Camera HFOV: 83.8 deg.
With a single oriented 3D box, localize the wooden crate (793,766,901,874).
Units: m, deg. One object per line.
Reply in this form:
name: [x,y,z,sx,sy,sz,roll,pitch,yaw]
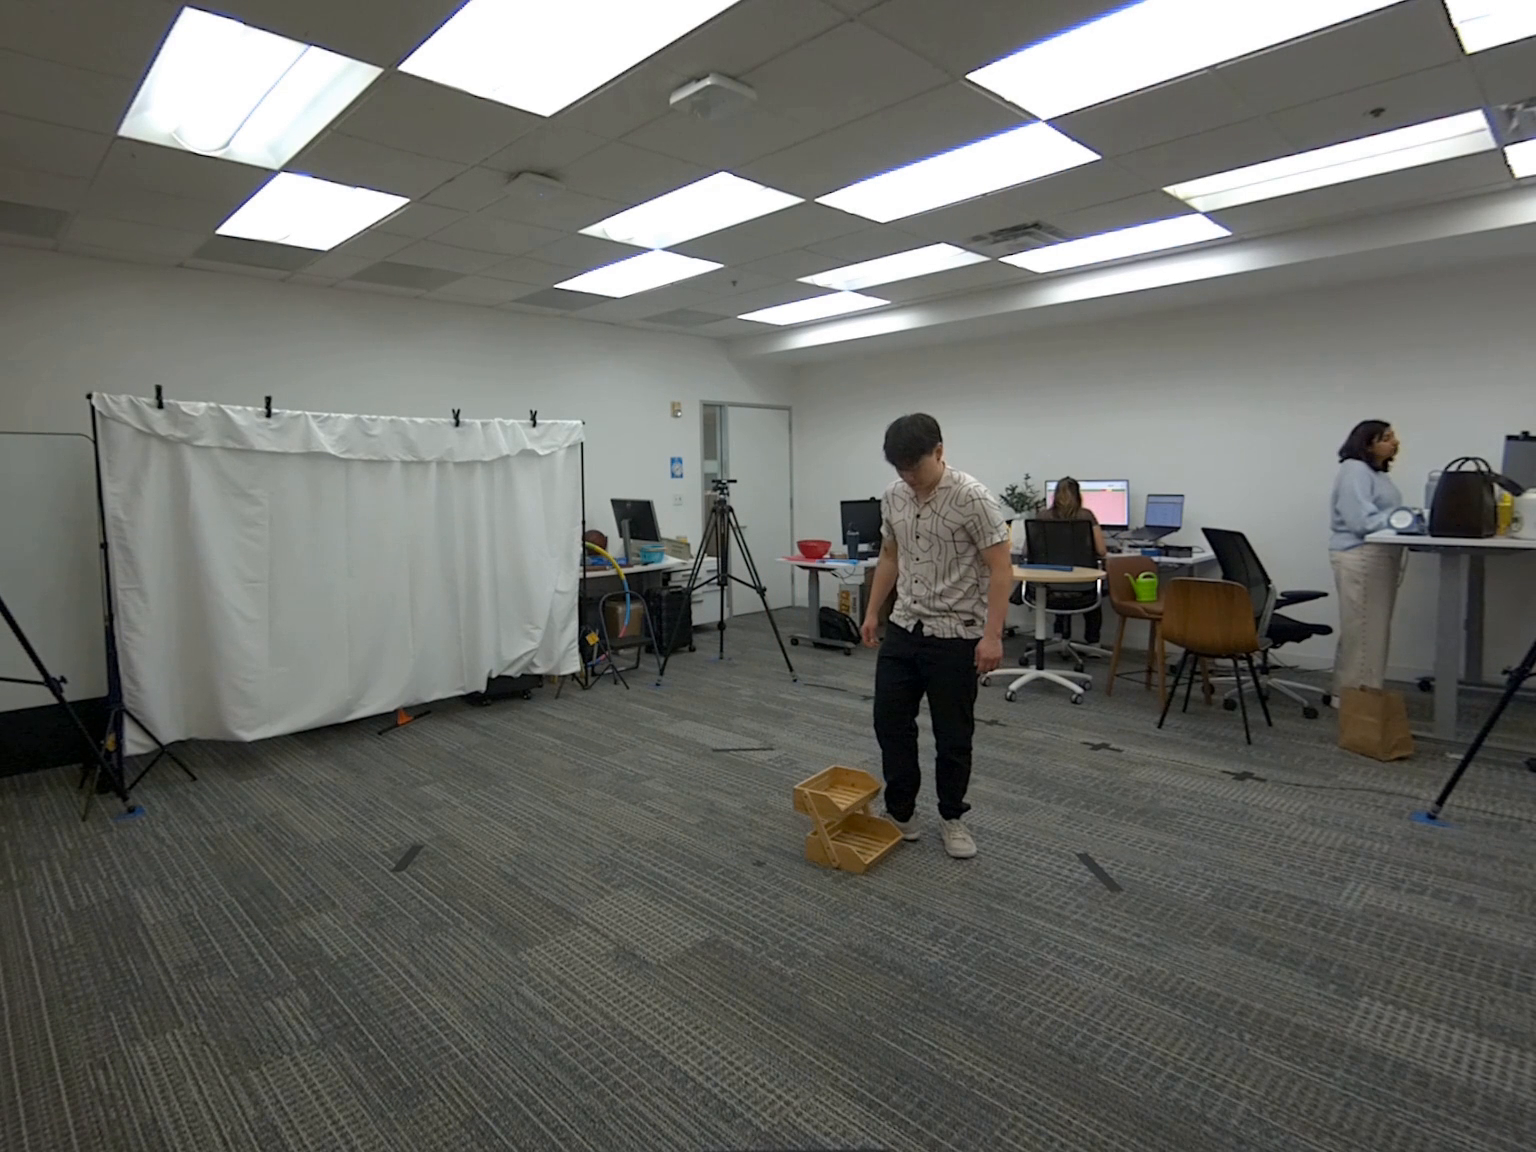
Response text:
wooden crate: [0.309,0.898,3.196,0.310,0.272,0.316,1,5,36]
